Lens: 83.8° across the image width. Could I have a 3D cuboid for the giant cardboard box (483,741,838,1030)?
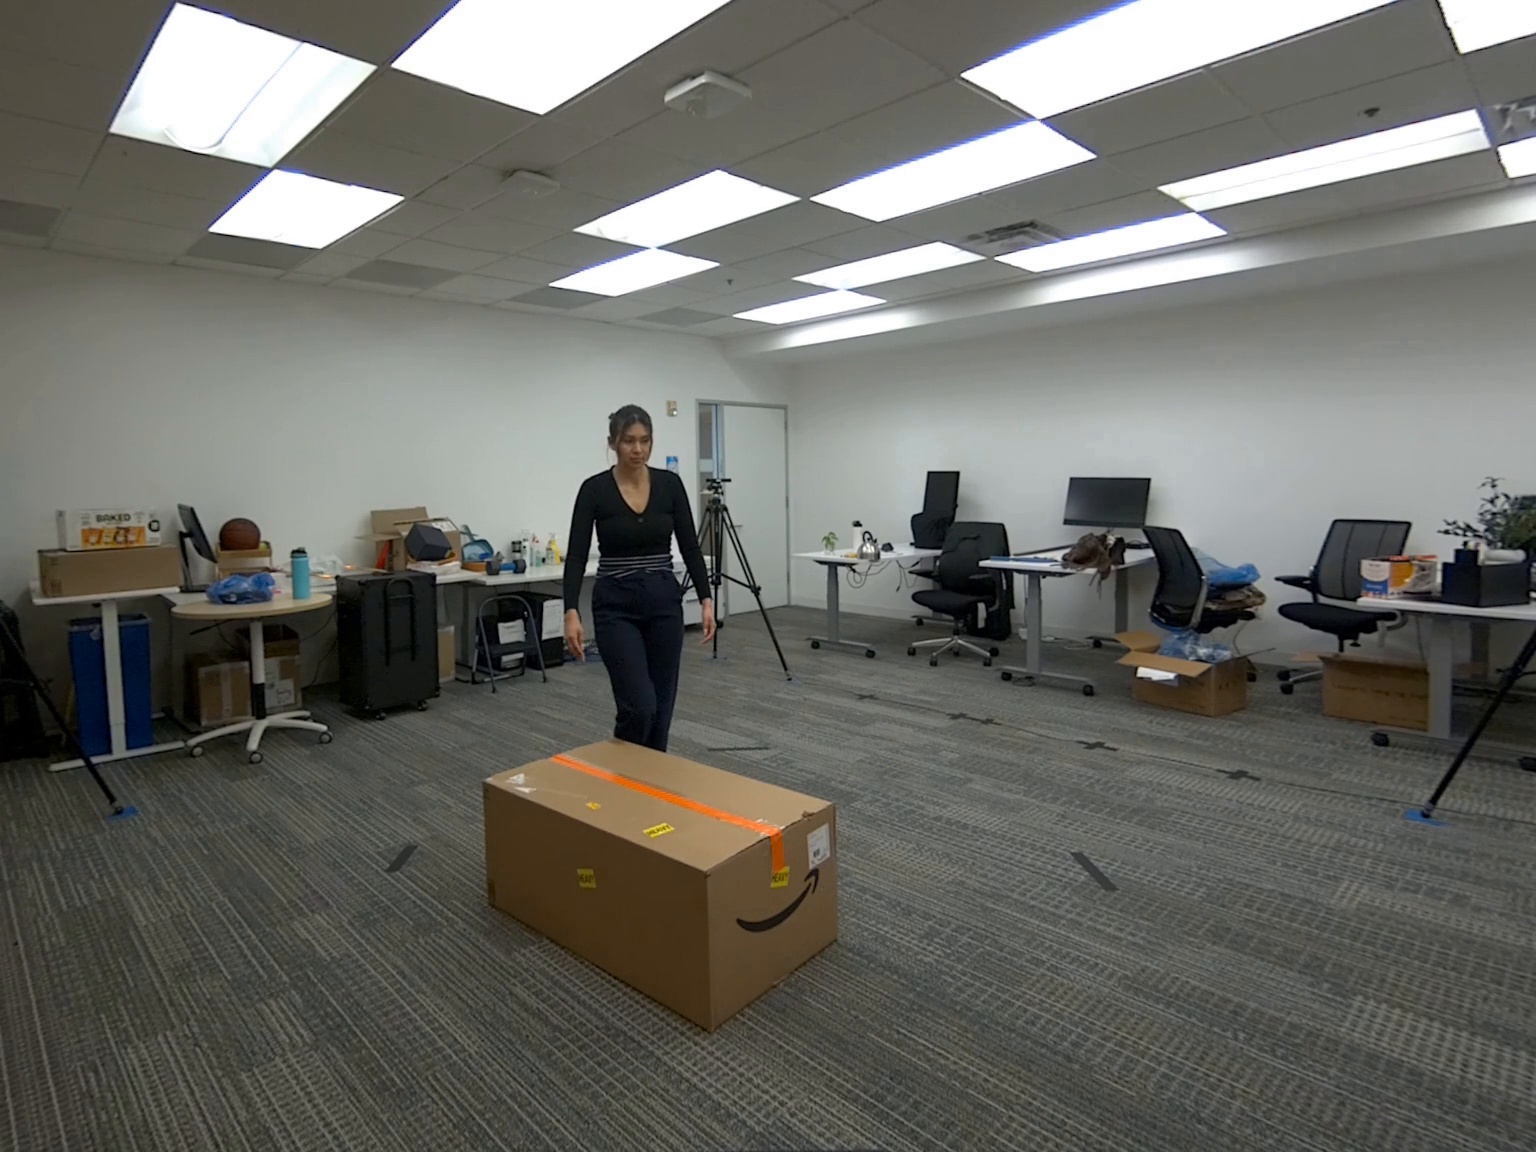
[{"bbox_3d":[-0.363,0.884,2.699,1.057,0.424,0.563,4,9,41],"label":"giant cardboard box"}]
